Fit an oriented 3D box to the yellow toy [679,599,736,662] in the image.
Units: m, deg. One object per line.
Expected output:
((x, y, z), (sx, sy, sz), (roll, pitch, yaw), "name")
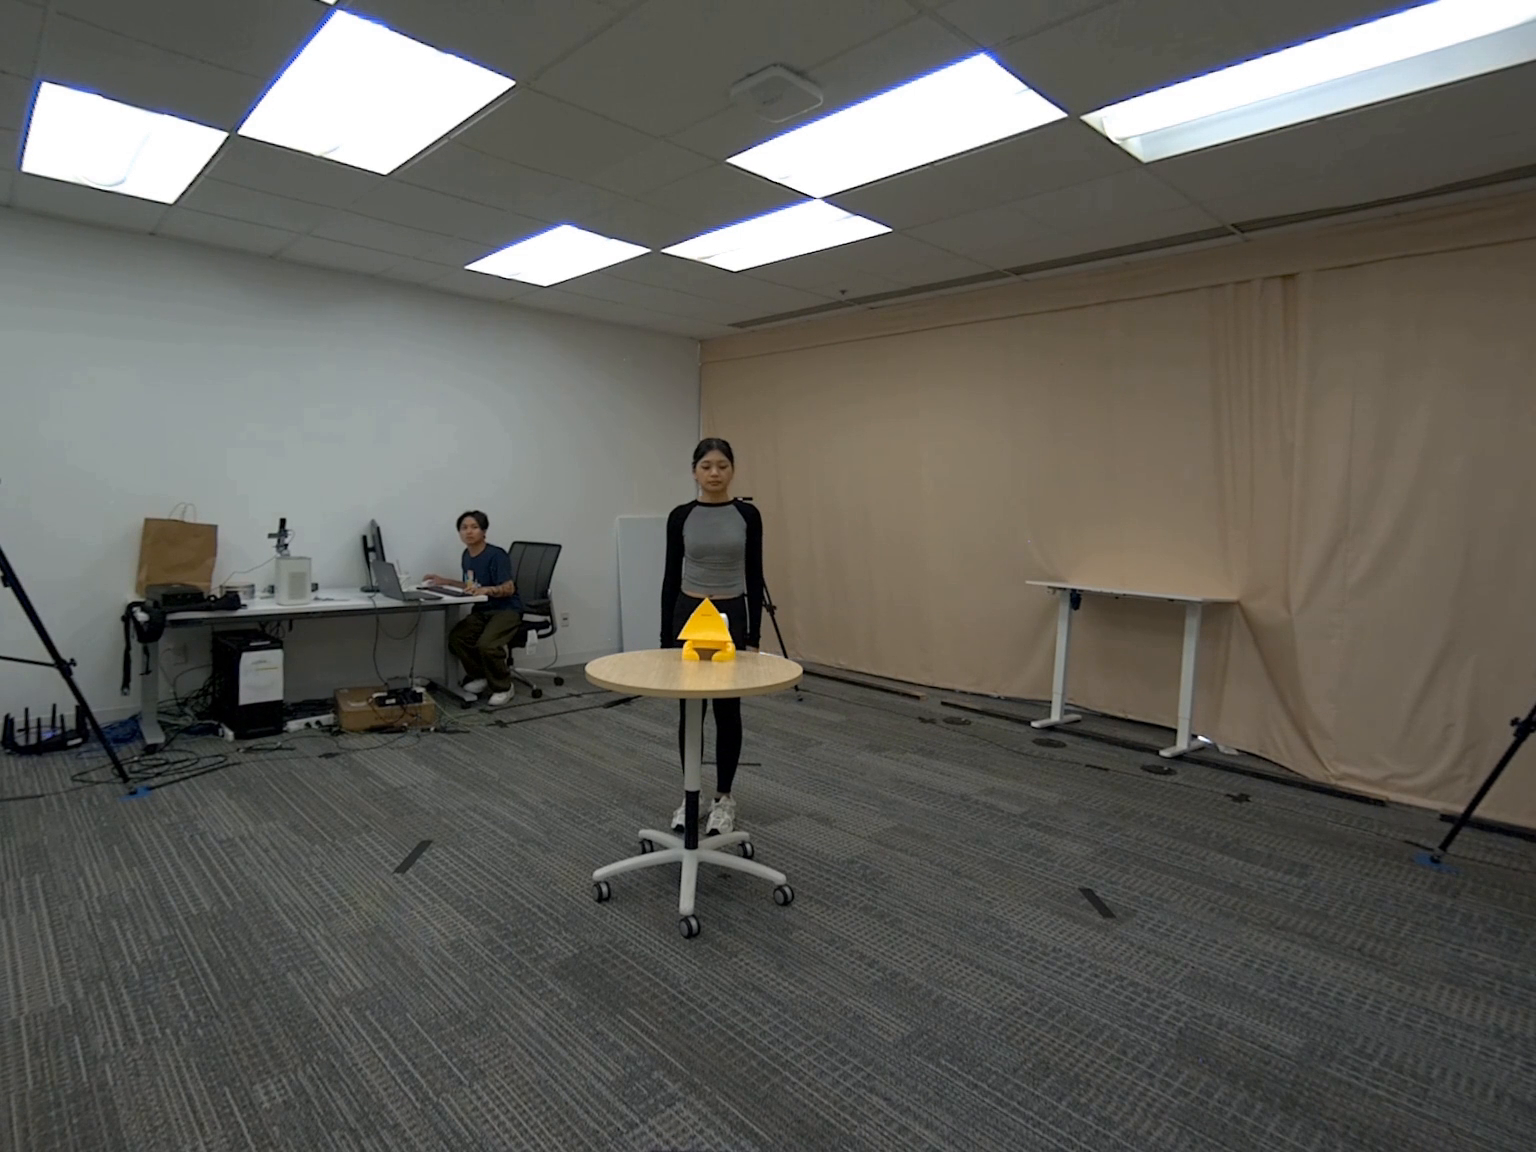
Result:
((-0.235, 0.192, 3.174), (0.206, 0.230, 0.192), (0, 4, 7), "yellow toy")
